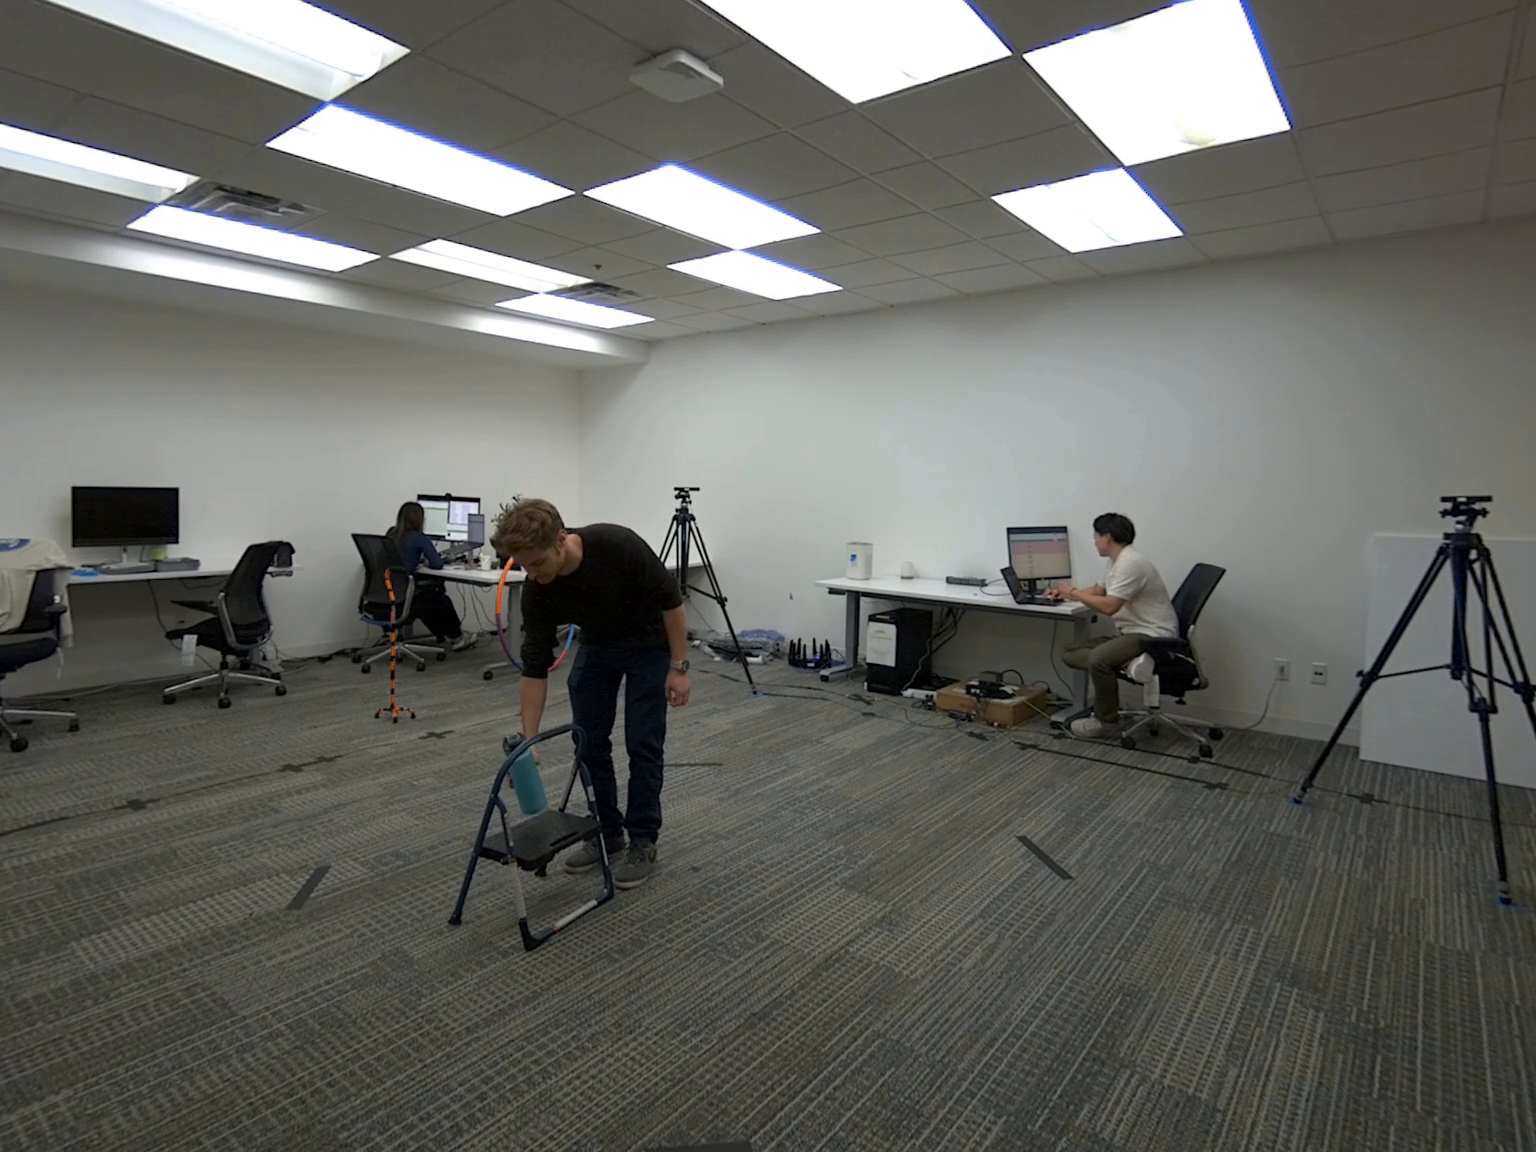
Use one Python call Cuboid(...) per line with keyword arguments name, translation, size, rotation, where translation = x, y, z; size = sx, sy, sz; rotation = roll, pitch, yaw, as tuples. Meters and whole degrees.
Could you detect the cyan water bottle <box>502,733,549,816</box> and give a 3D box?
Cuboid(name="cyan water bottle", translation=(-0.814, 0.631, 2.777), size=(0.092, 0.277, 0.094), rotation=(-8, 19, 1))
